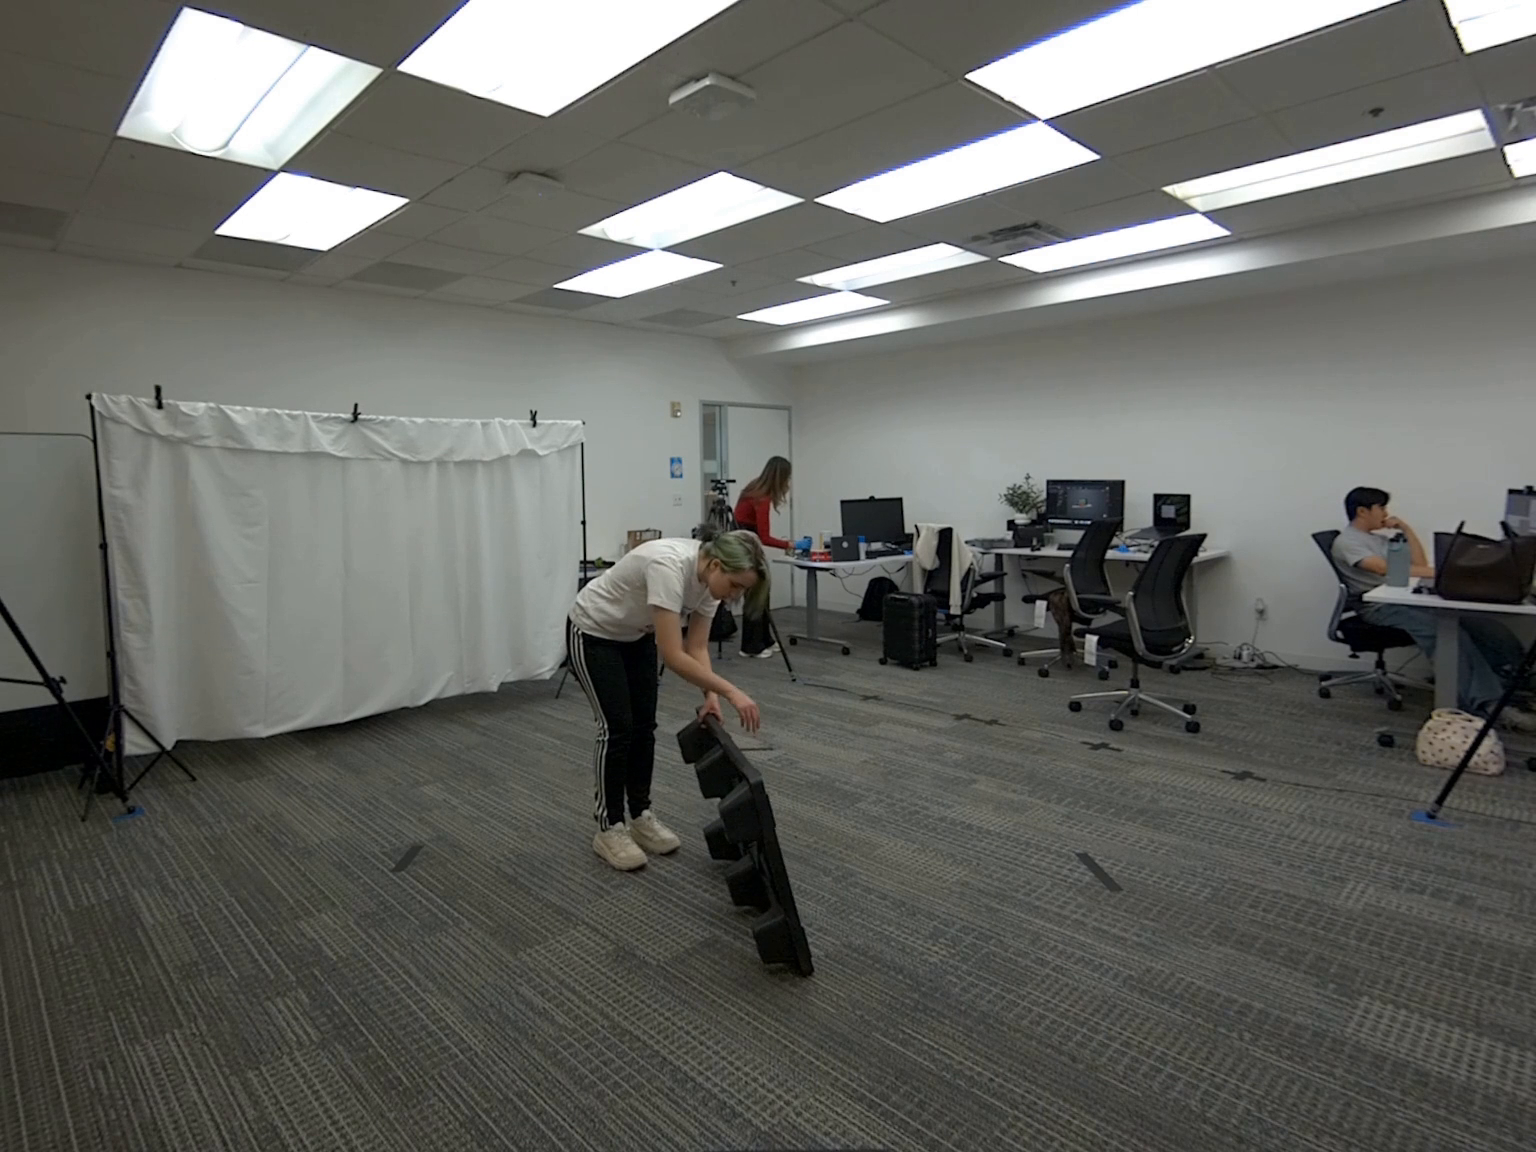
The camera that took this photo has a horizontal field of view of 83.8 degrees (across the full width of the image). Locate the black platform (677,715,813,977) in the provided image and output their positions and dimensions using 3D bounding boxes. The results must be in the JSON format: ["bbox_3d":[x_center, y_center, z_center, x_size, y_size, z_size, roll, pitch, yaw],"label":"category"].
[{"bbox_3d":[-0.102,0.804,2.733,0.142,0.600,0.819,-16,9,-13],"label":"black platform"}]
